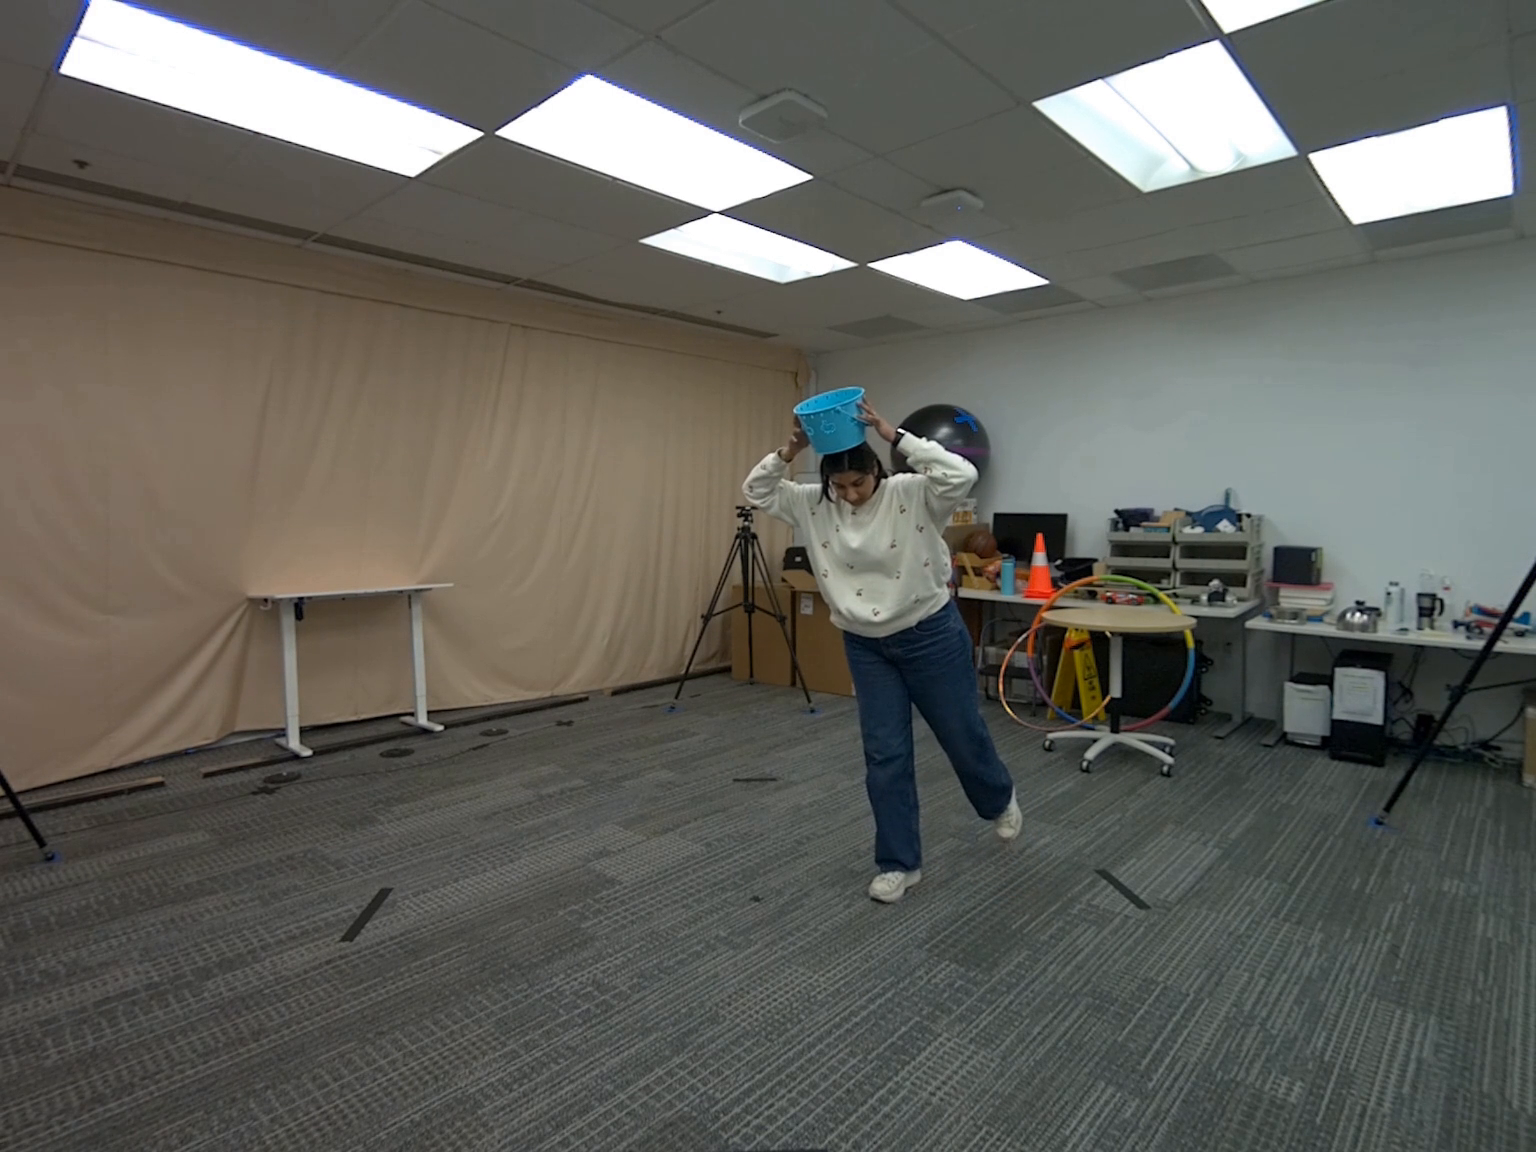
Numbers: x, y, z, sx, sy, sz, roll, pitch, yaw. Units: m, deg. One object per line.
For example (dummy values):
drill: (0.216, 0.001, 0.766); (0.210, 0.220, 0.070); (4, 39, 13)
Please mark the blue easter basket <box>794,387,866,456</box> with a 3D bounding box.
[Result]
blue easter basket: (0.224, -0.509, 2.747); (0.245, 0.153, 0.247); (-18, 21, 5)
